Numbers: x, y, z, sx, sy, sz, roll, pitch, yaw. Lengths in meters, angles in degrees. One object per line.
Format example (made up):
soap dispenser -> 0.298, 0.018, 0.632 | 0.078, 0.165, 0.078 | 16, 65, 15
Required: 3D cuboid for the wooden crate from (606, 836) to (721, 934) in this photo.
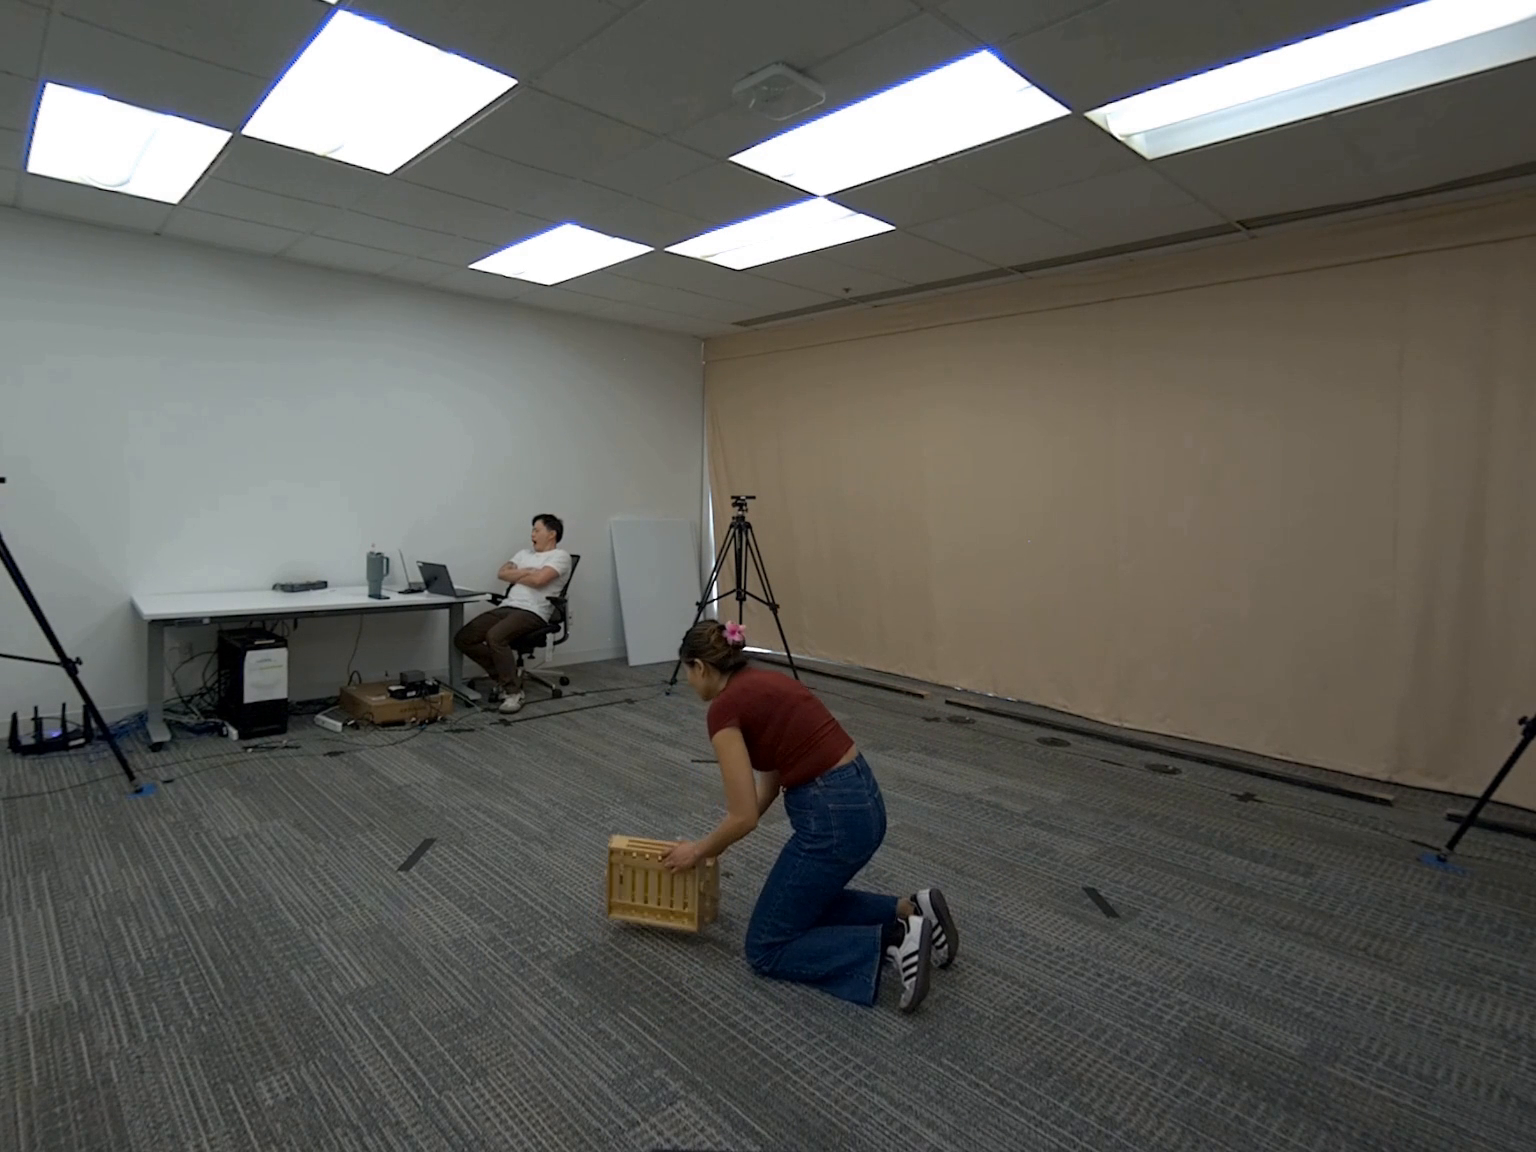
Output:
wooden crate -> -0.340, 0.972, 2.746 | 0.328, 0.301, 0.271 | 2, 4, 11
